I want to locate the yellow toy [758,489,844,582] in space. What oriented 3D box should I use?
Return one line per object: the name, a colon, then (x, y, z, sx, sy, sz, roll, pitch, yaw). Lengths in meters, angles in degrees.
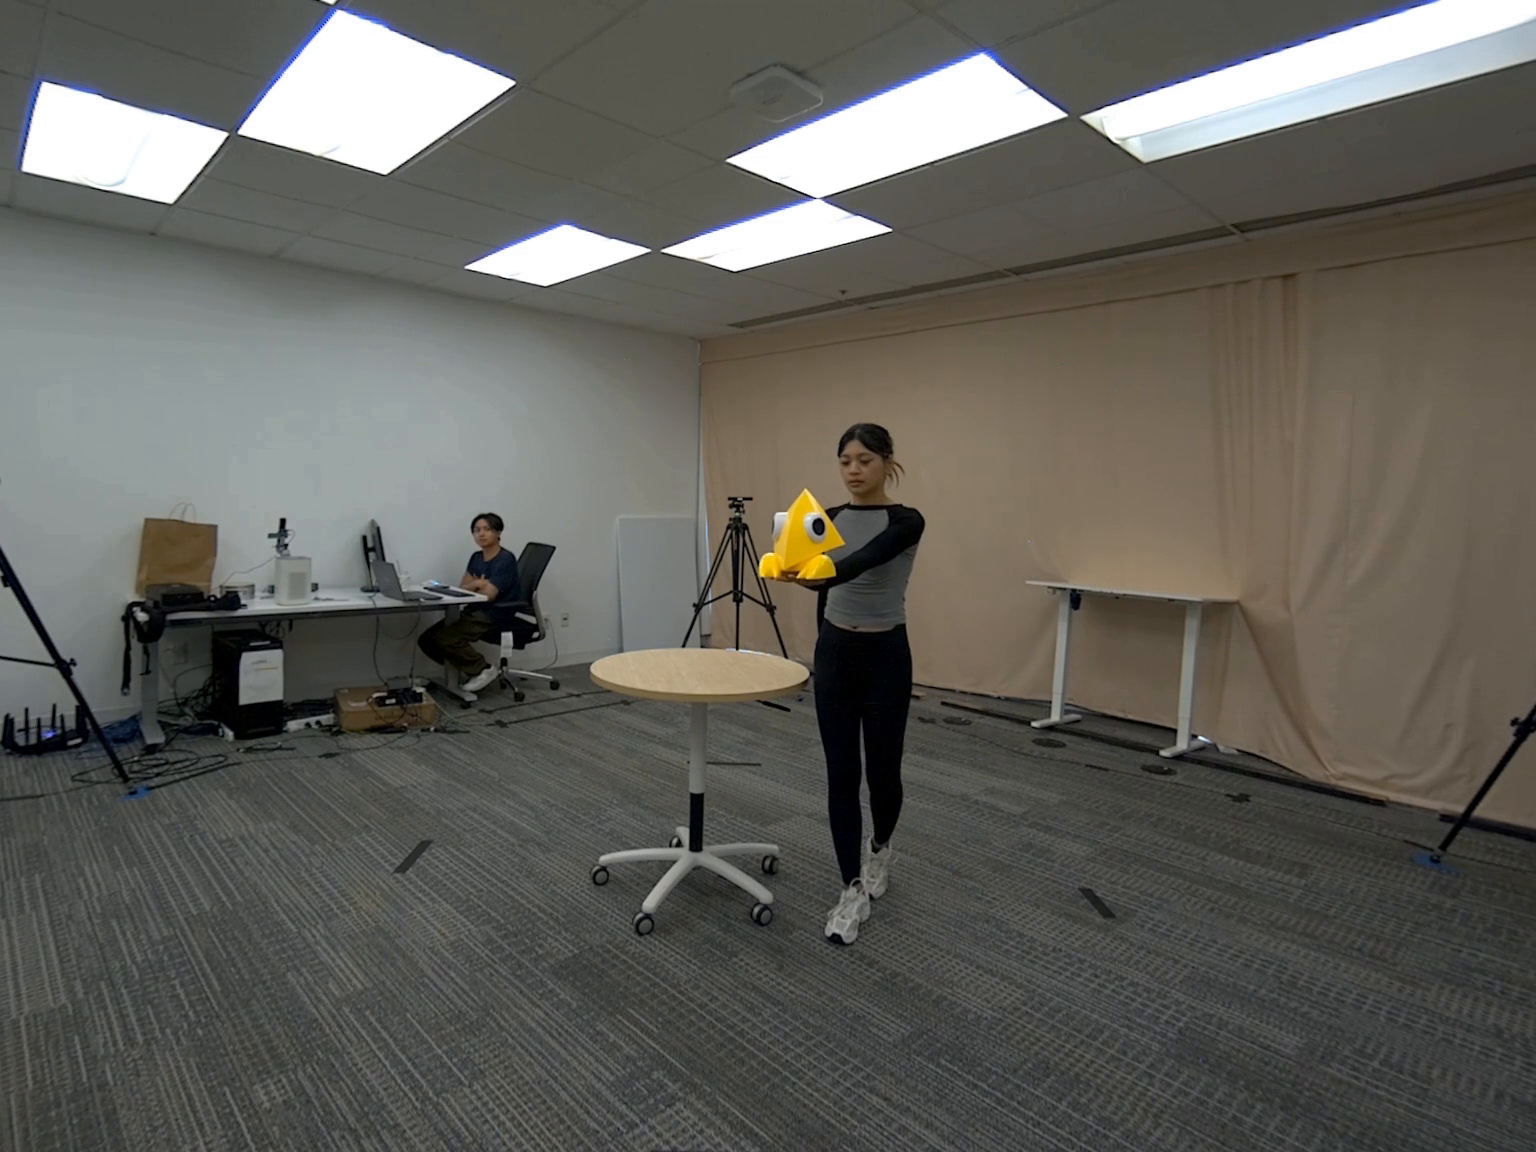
yellow toy: (0.073, -0.115, 2.242, 0.209, 0.230, 0.190, 1, 4, 25)
